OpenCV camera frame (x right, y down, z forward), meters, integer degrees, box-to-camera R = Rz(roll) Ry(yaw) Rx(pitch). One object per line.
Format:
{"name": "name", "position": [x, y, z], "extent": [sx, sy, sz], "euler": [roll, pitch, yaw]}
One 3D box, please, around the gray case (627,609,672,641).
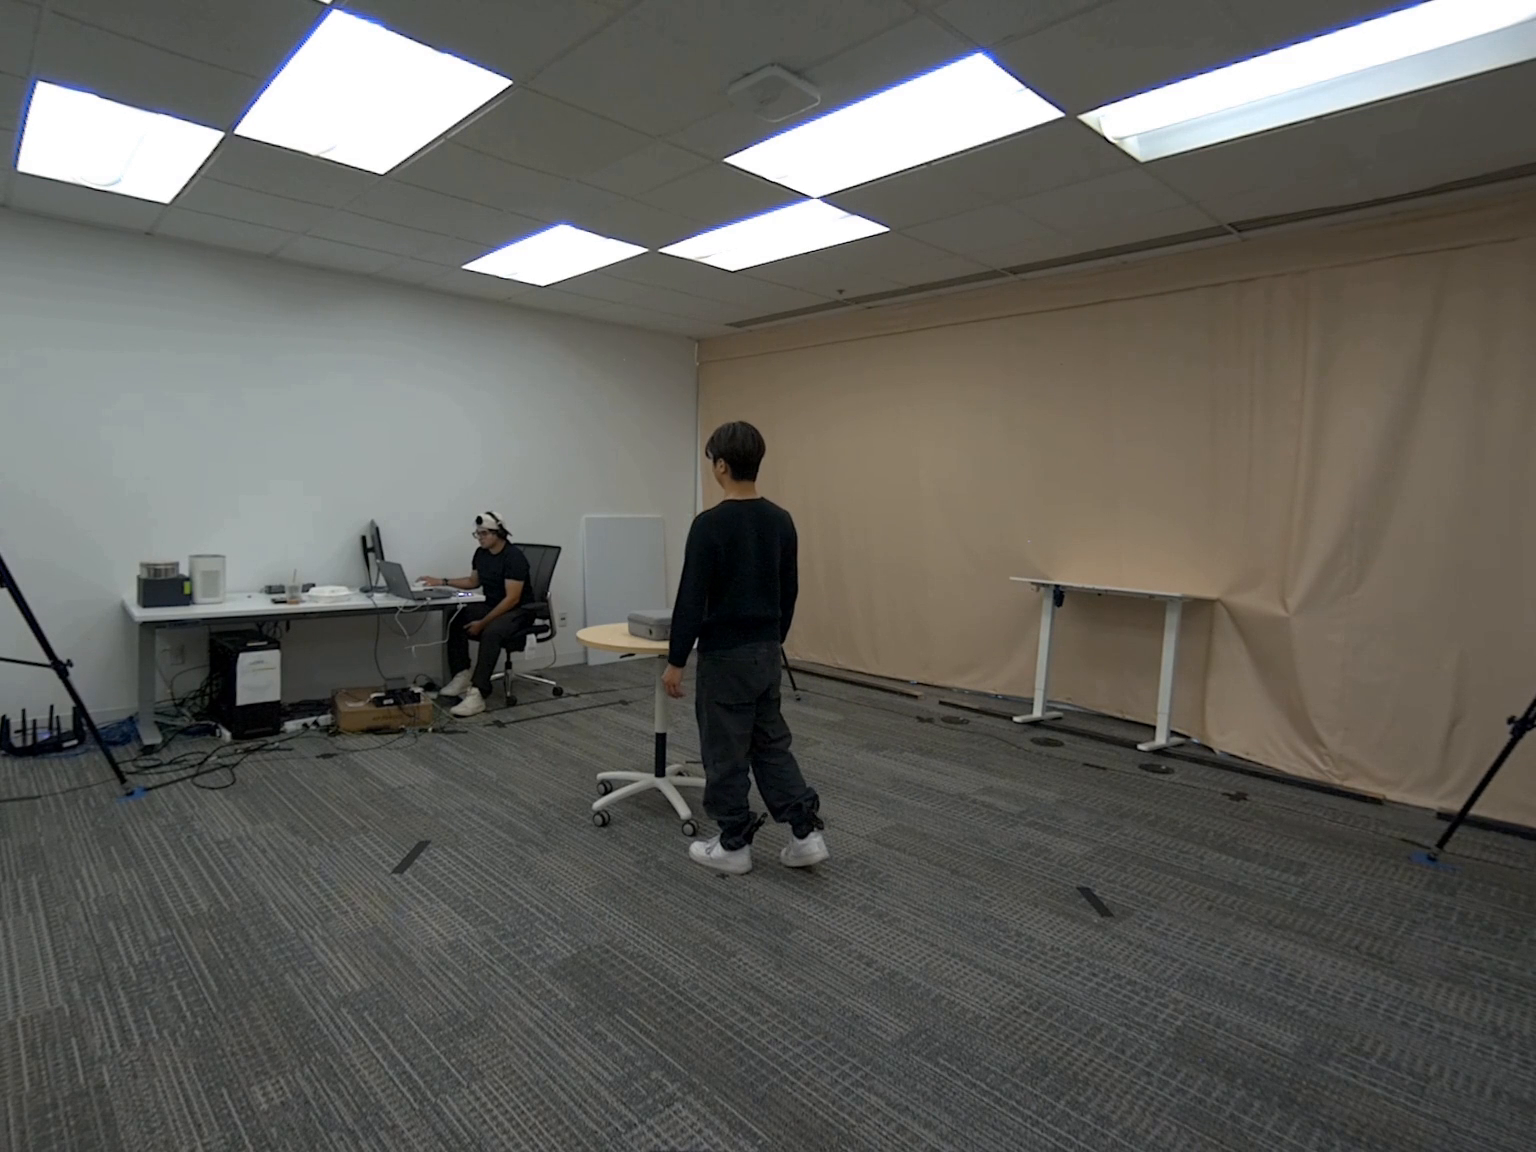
{"name": "gray case", "position": [-0.461, 0.210, 3.701], "extent": [0.251, 0.104, 0.267], "euler": [-1, 5, -39]}
